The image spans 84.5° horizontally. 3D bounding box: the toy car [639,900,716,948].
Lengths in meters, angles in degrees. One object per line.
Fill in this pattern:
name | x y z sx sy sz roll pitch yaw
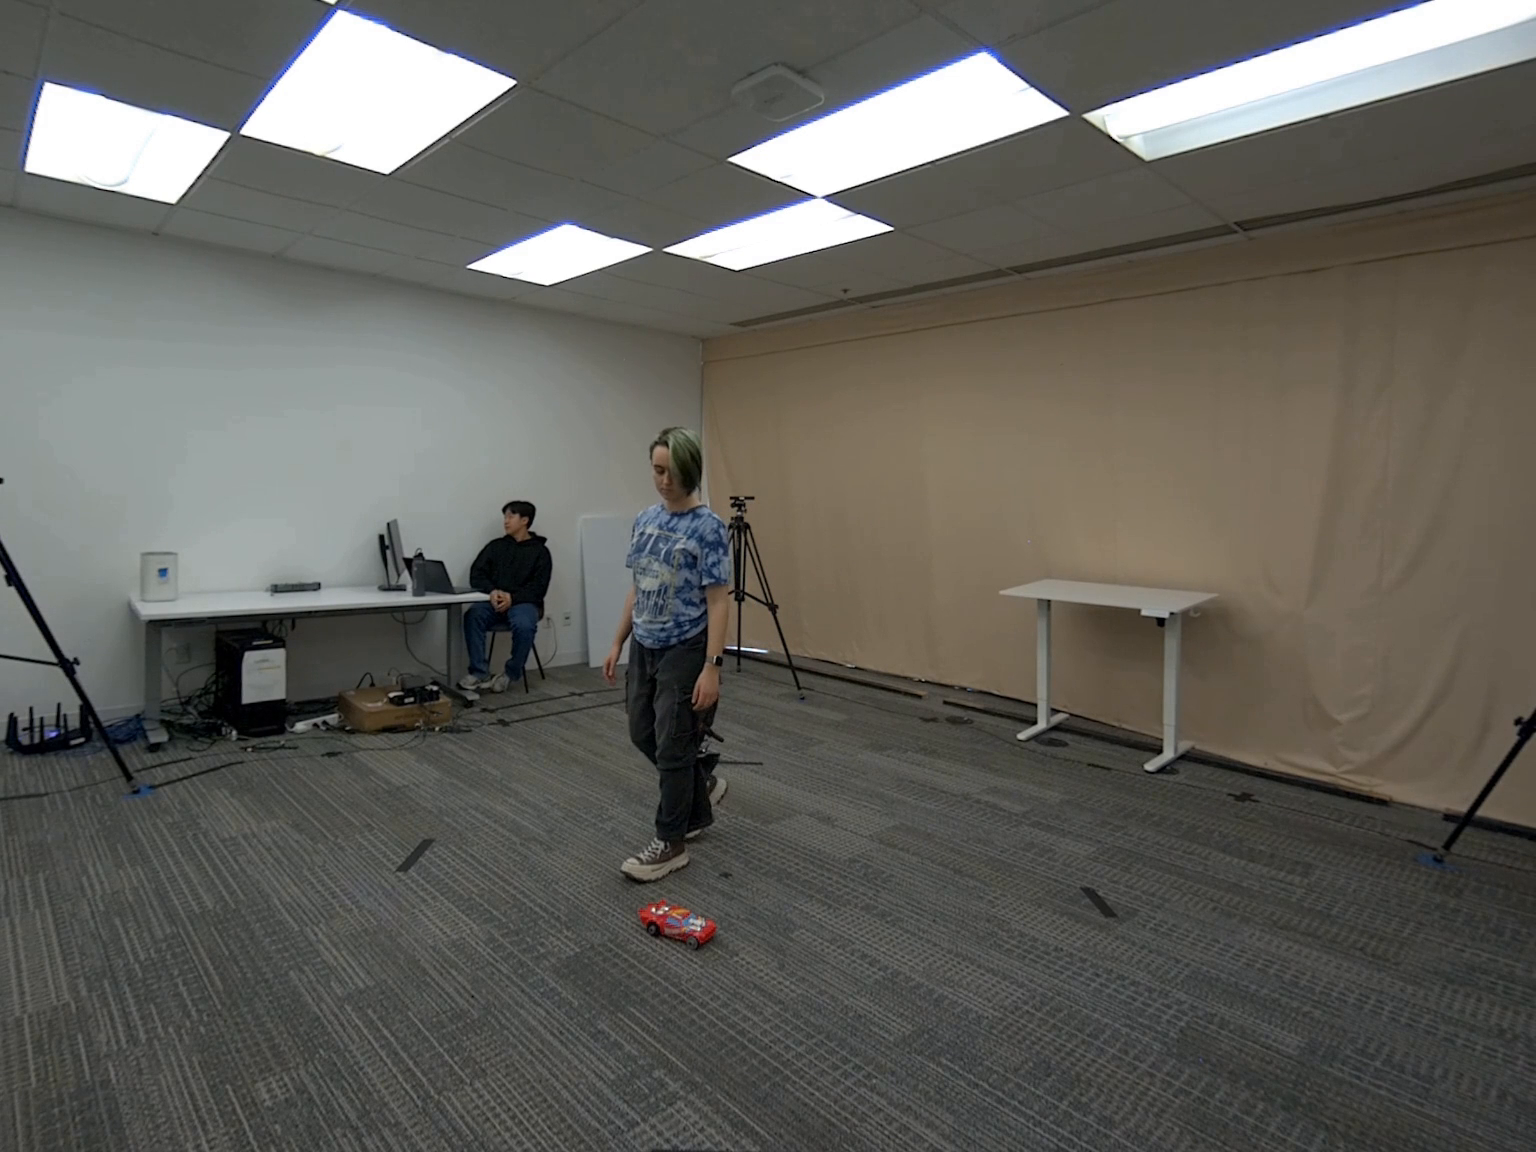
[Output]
toy car | -0.300 1.112 2.674 0.260 0.083 0.128 15 11 27
